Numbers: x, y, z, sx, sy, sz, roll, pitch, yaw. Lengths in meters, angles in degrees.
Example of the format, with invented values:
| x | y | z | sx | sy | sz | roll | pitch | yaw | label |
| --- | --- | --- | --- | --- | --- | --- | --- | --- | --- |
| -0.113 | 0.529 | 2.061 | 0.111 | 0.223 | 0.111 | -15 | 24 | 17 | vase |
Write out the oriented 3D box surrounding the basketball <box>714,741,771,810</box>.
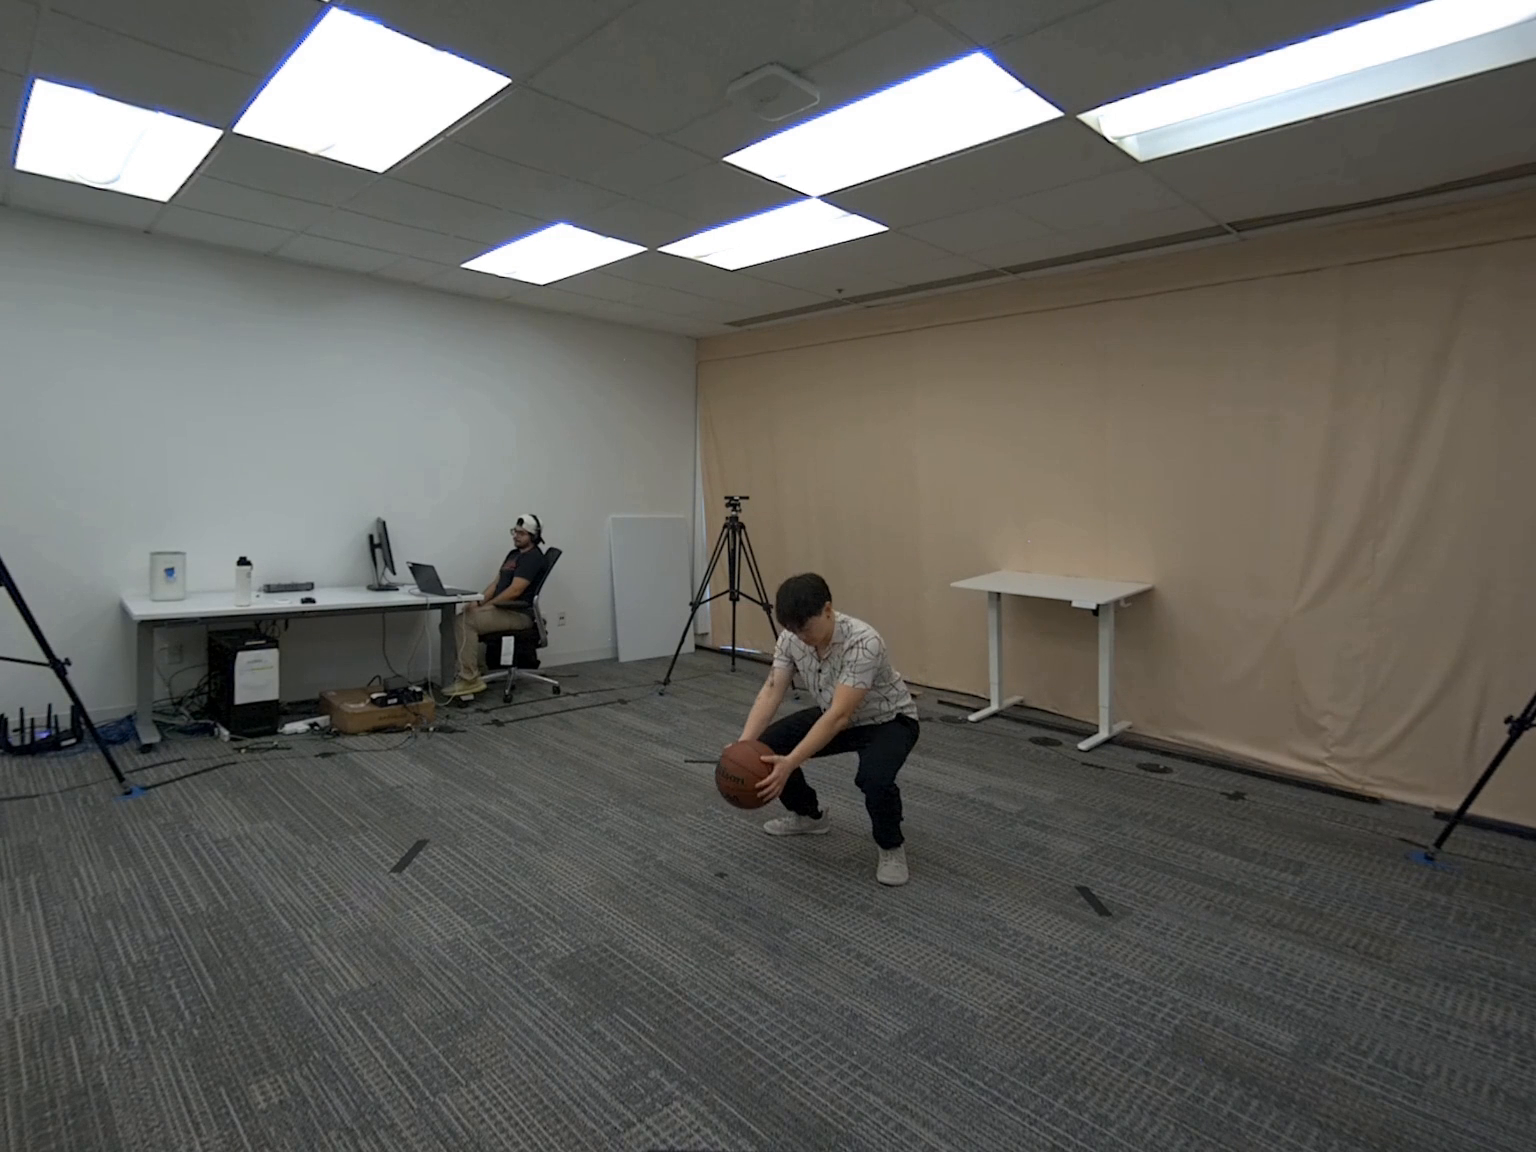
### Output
| x | y | z | sx | sy | sz | roll | pitch | yaw | label |
| --- | --- | --- | --- | --- | --- | --- | --- | --- | --- |
| -0.075 | 0.701 | 2.981 | 0.236 | 0.235 | 0.237 | 1 | 4 | -1 | basketball |
